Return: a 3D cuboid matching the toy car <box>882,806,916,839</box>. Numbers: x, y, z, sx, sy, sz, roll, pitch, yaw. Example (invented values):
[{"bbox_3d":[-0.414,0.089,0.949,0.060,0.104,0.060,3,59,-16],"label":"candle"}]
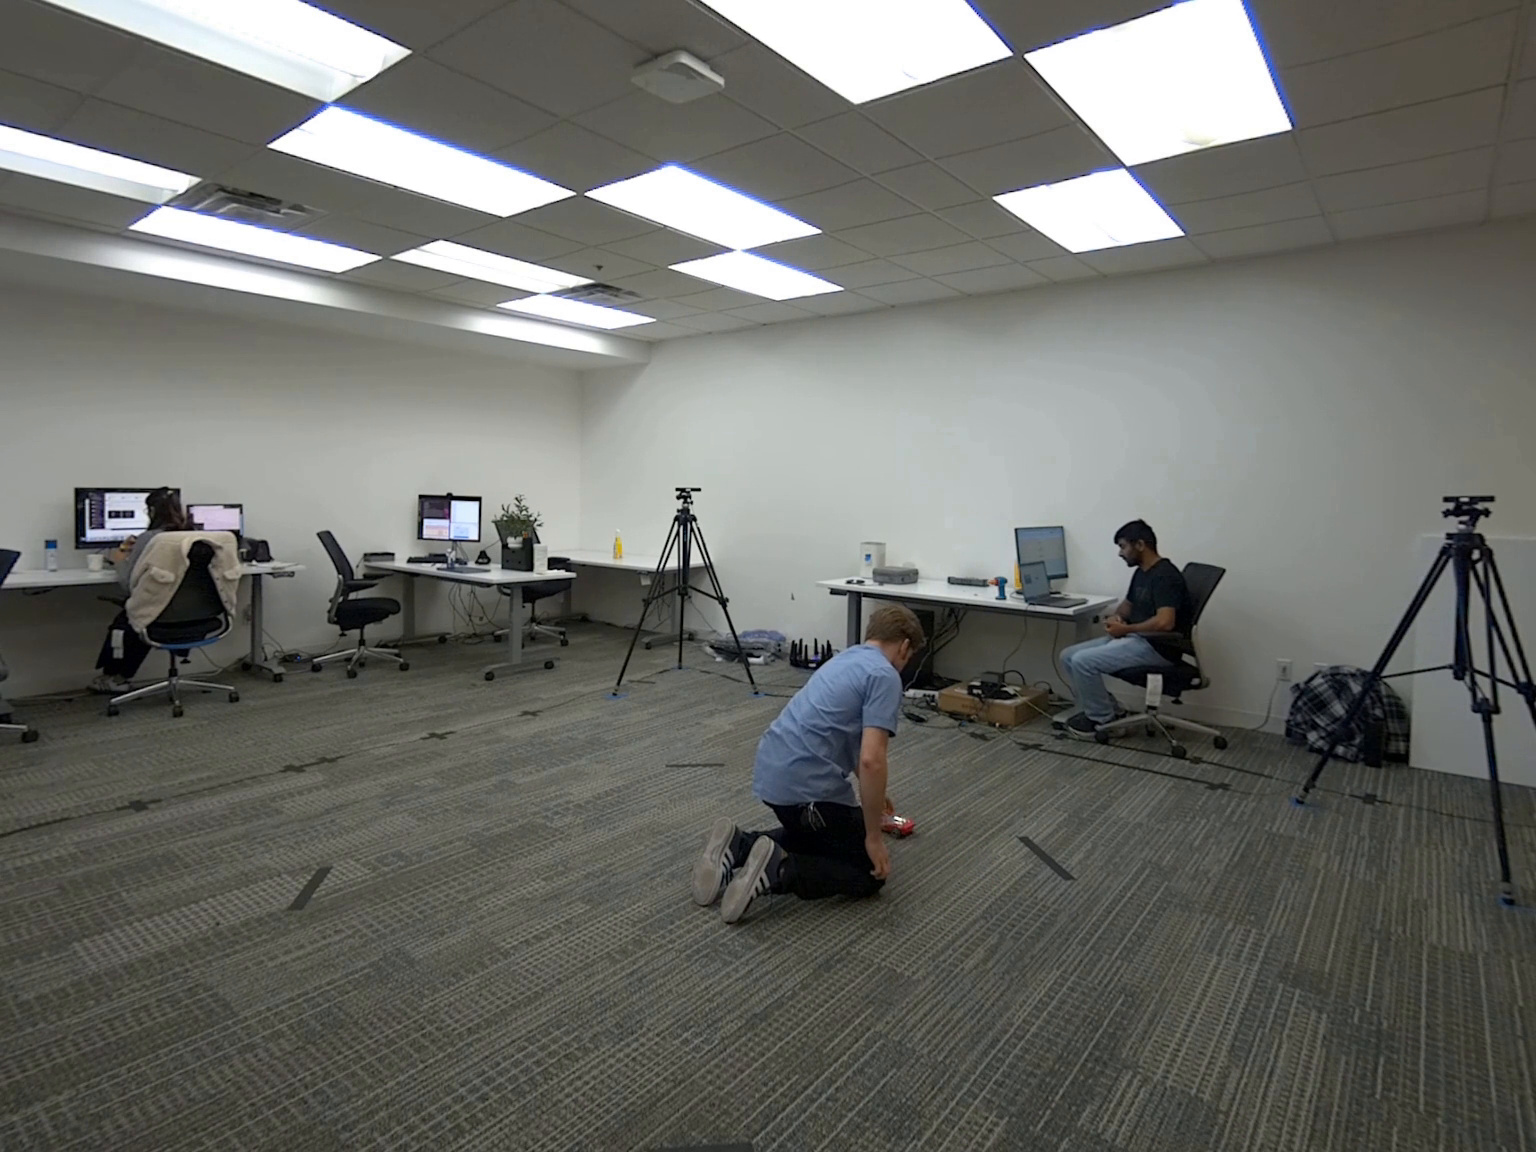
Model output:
[{"bbox_3d":[0.474,1.011,3.530,0.264,0.082,0.126,17,14,40],"label":"toy car"}]
